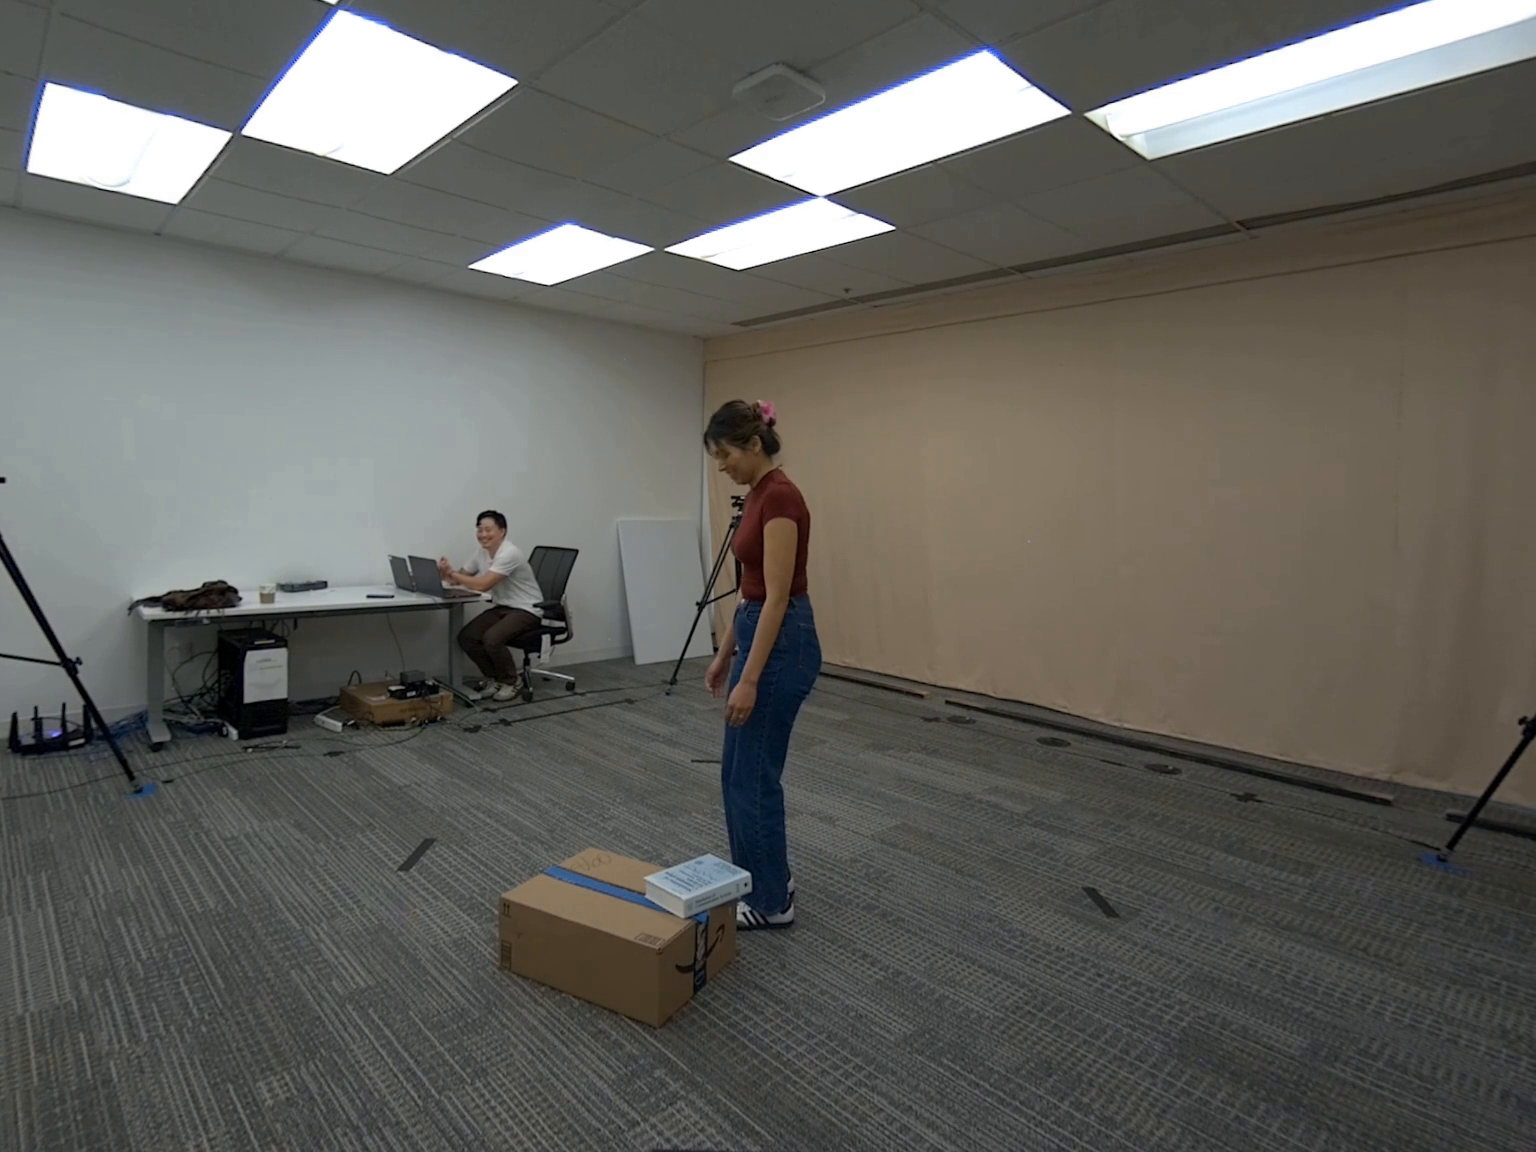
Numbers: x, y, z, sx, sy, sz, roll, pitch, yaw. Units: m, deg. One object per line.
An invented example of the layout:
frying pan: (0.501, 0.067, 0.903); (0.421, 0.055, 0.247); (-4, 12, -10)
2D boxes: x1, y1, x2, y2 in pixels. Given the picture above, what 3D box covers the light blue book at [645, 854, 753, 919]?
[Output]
light blue book: (-0.214, 0.911, 2.486); (0.255, 0.059, 0.196); (-3, 5, -44)
